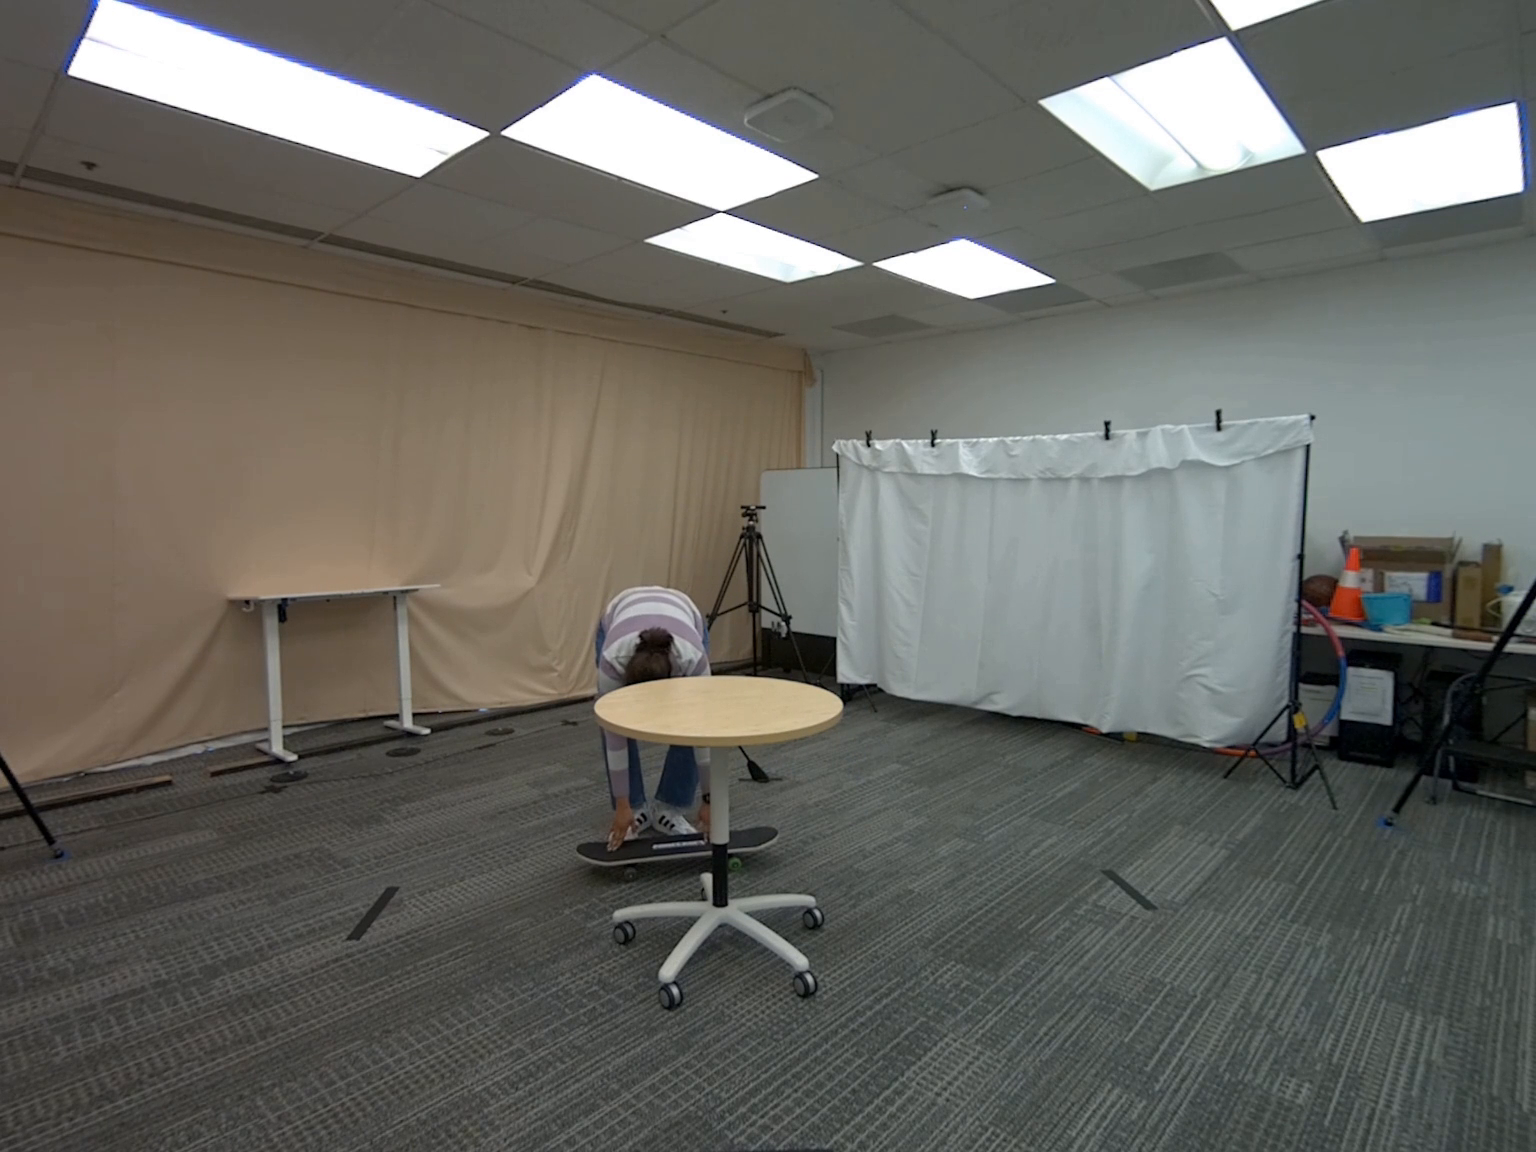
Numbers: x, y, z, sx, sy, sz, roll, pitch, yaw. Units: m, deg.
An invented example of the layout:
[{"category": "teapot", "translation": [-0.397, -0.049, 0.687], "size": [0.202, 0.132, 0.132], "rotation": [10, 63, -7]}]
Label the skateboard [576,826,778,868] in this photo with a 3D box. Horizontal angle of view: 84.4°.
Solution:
[{"category": "skateboard", "translation": [-0.340, 1.066, 3.243], "size": [0.776, 0.110, 0.196], "rotation": [-2, 5, -11]}]
